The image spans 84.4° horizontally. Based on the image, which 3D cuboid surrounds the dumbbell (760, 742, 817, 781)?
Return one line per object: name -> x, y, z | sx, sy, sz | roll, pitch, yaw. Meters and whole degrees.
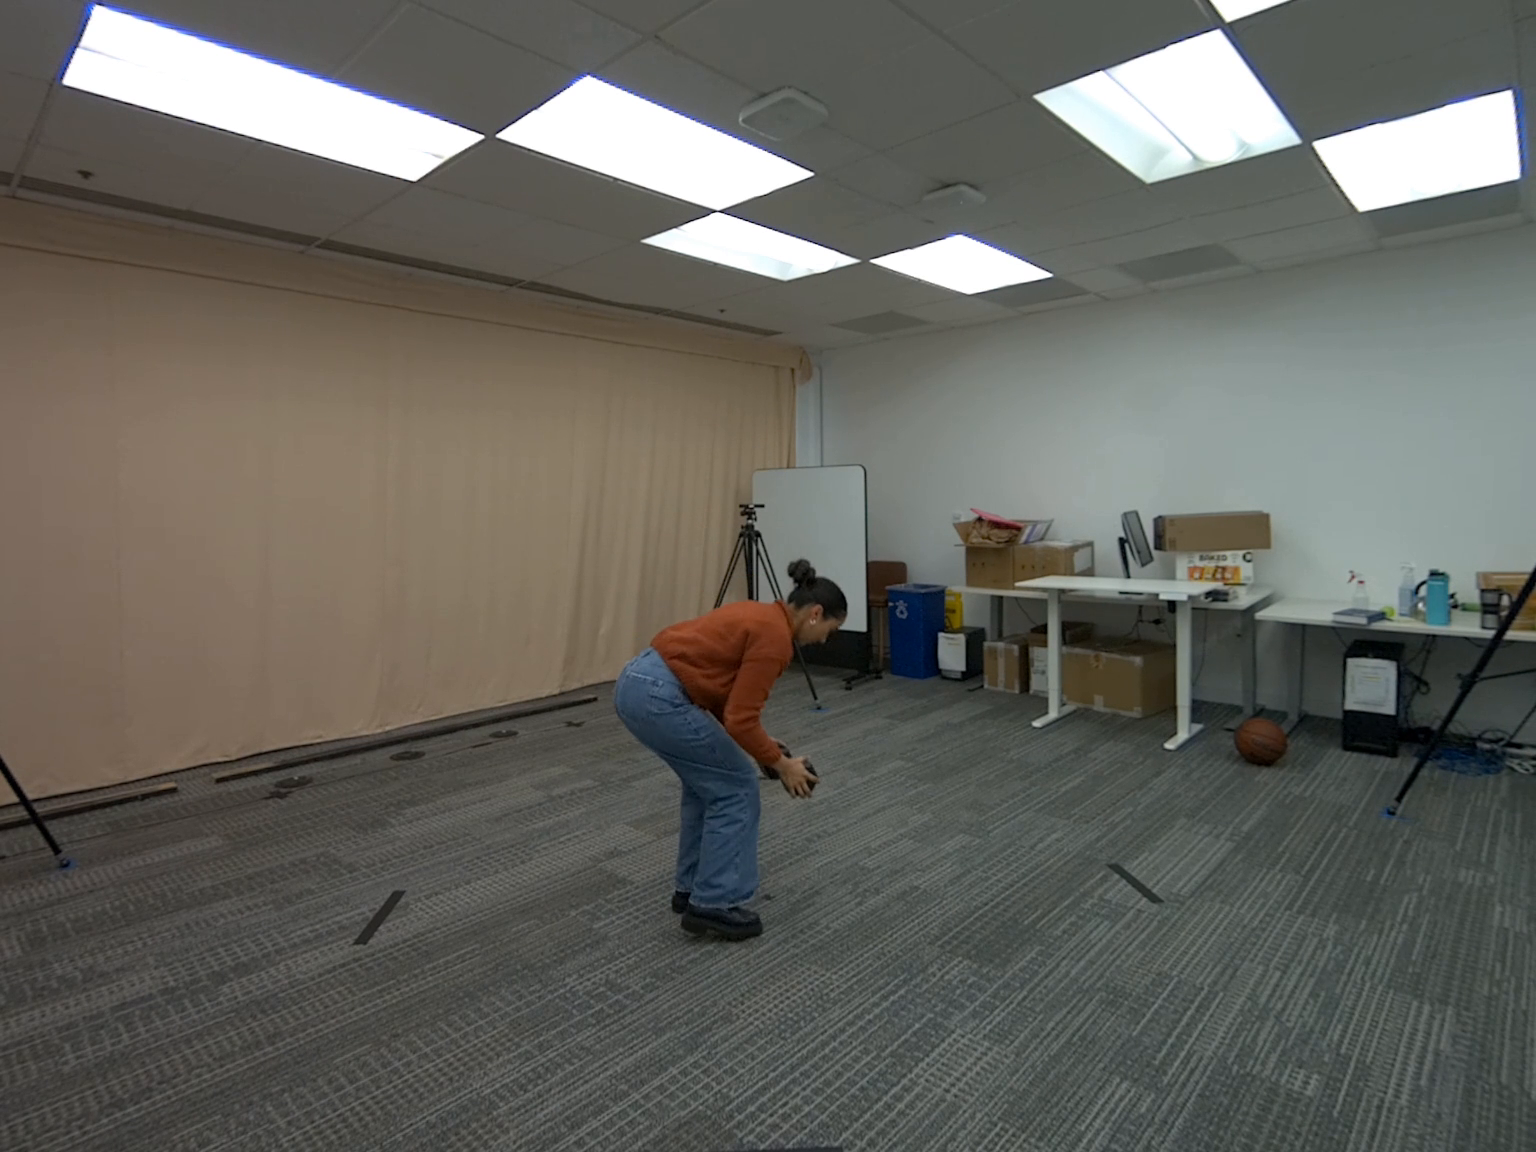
dumbbell -> 0.074, 0.666, 2.869 | 0.121, 0.109, 0.299 | 0, 1, -18
